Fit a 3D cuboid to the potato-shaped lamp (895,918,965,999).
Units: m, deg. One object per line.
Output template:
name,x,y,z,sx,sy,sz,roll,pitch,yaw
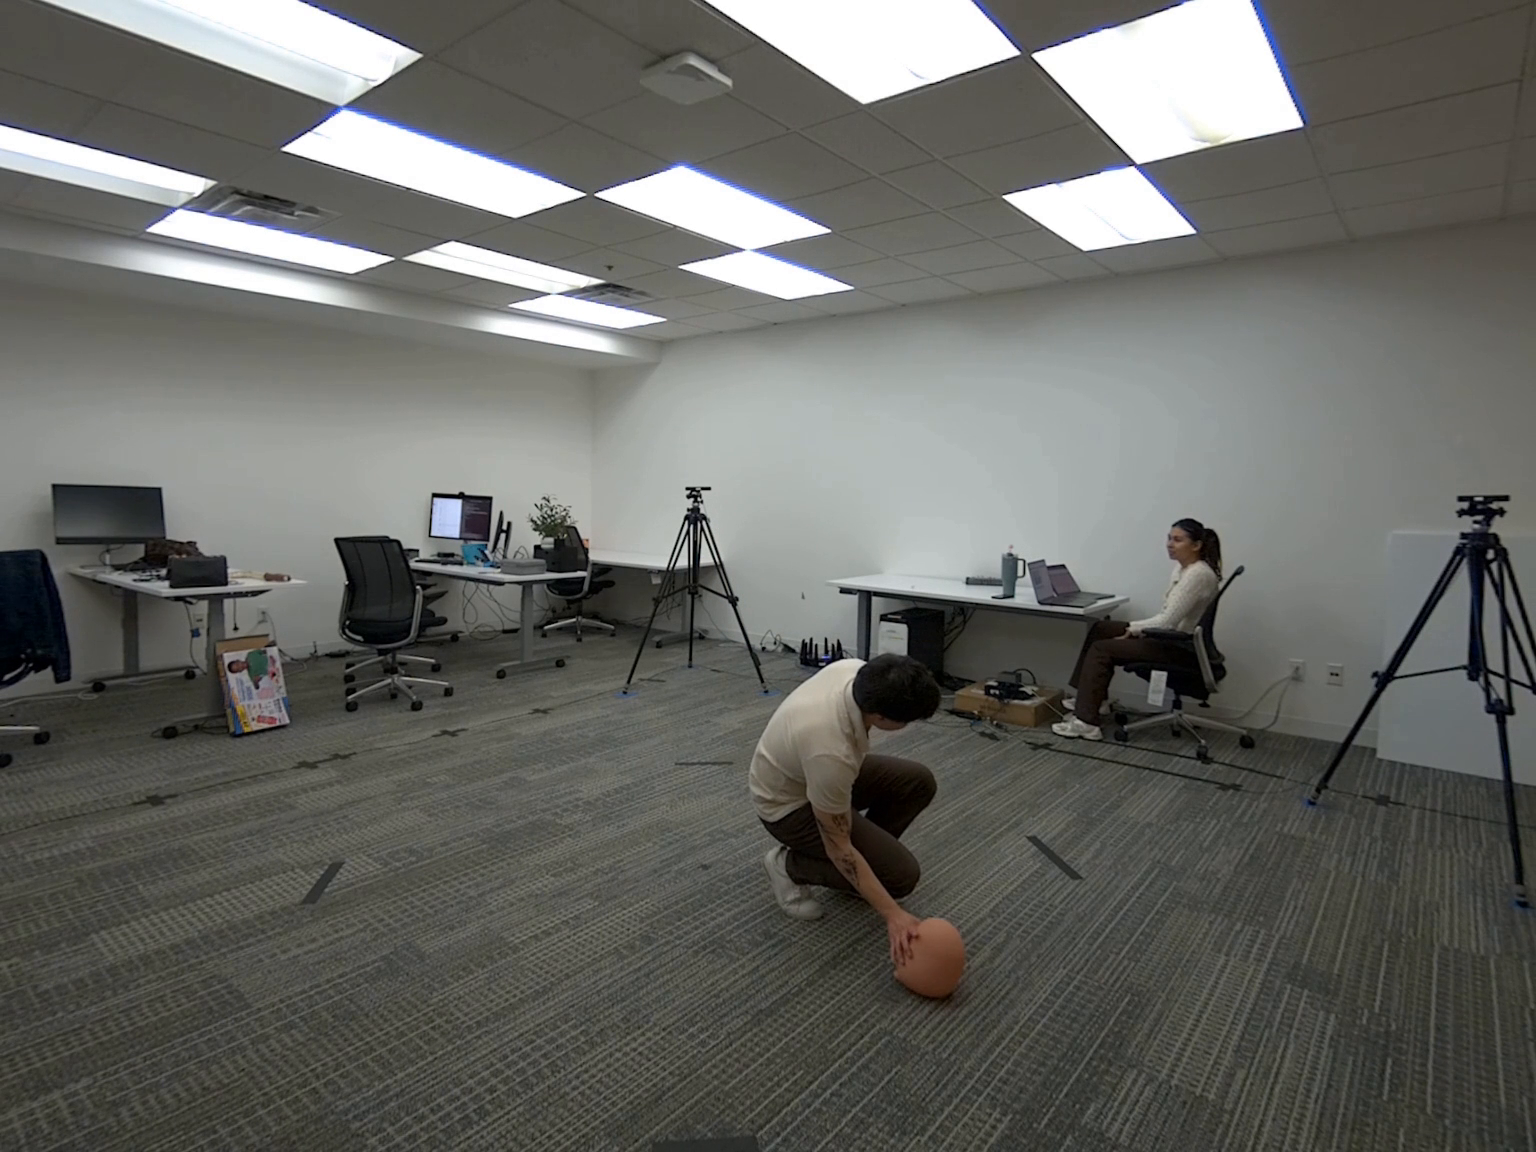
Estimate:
potato-shaped lamp,0.468,1.057,2.375,0.177,0.196,0.160,15,11,34
